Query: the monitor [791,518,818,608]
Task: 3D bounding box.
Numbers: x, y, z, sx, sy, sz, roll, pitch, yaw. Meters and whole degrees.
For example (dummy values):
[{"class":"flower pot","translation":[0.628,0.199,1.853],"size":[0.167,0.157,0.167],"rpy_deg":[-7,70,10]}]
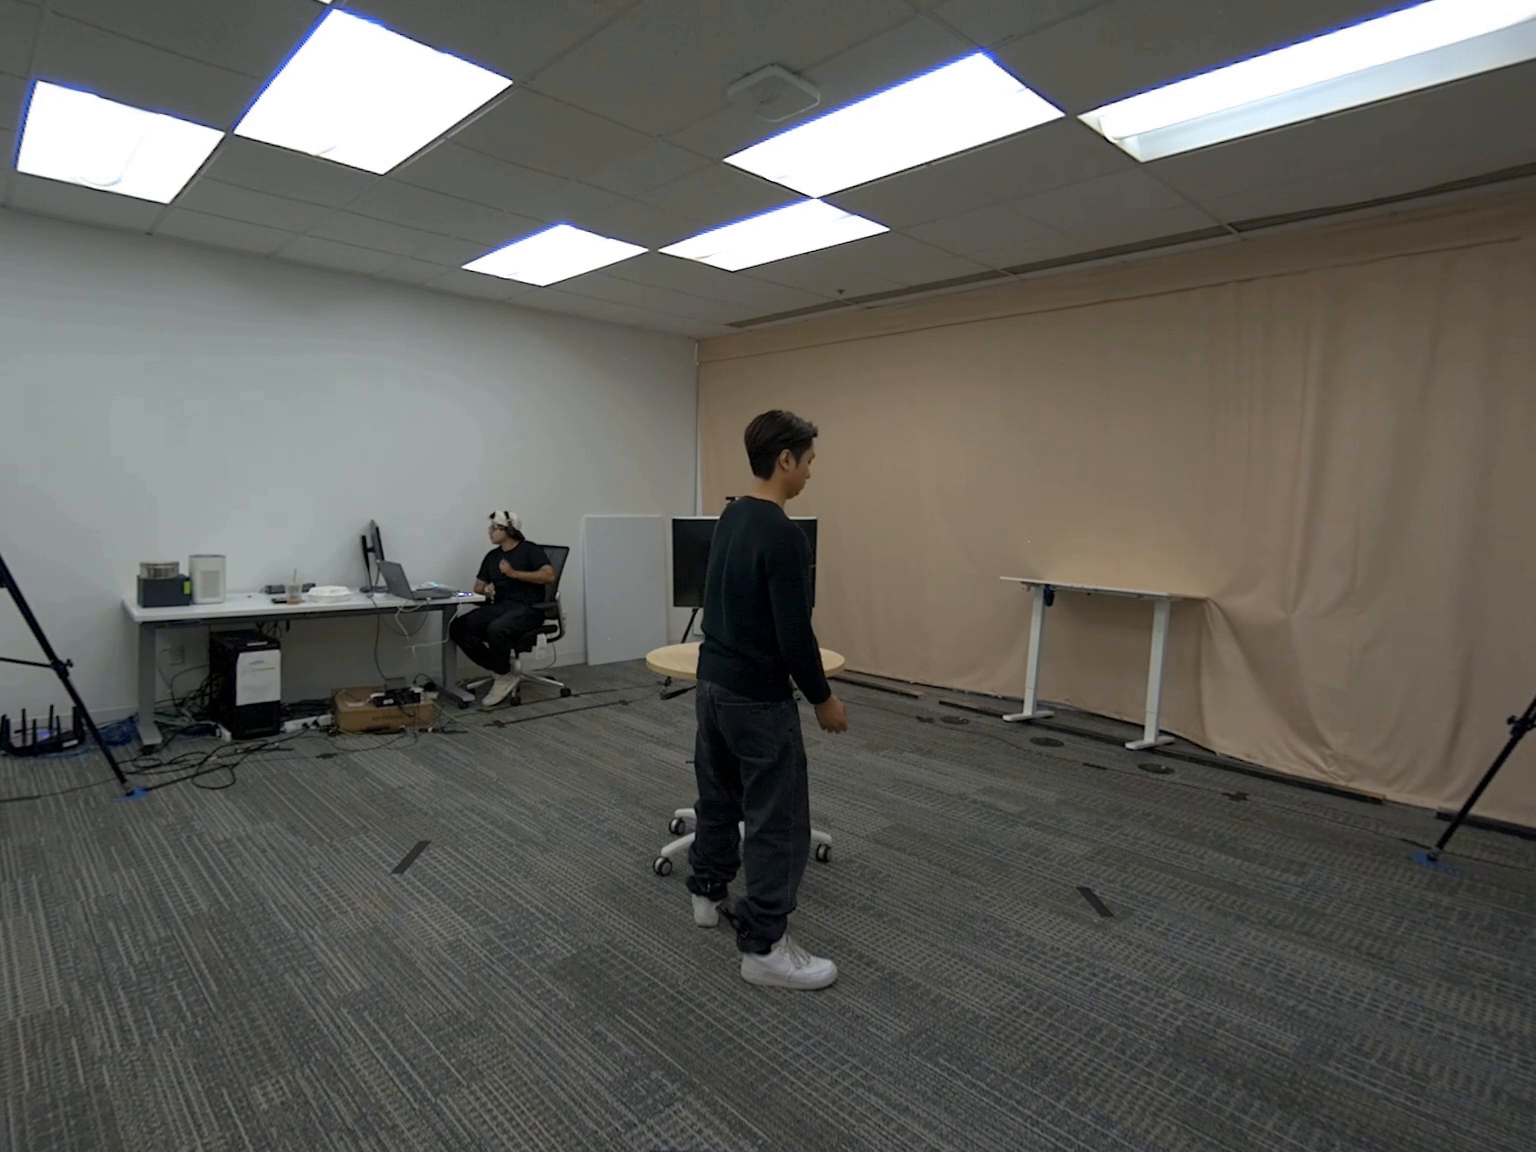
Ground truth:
[{"class":"monitor","translation":[-0.086,0.061,3.209],"size":[0.538,0.521,0.187],"rpy_deg":[3,3,-1]}]
